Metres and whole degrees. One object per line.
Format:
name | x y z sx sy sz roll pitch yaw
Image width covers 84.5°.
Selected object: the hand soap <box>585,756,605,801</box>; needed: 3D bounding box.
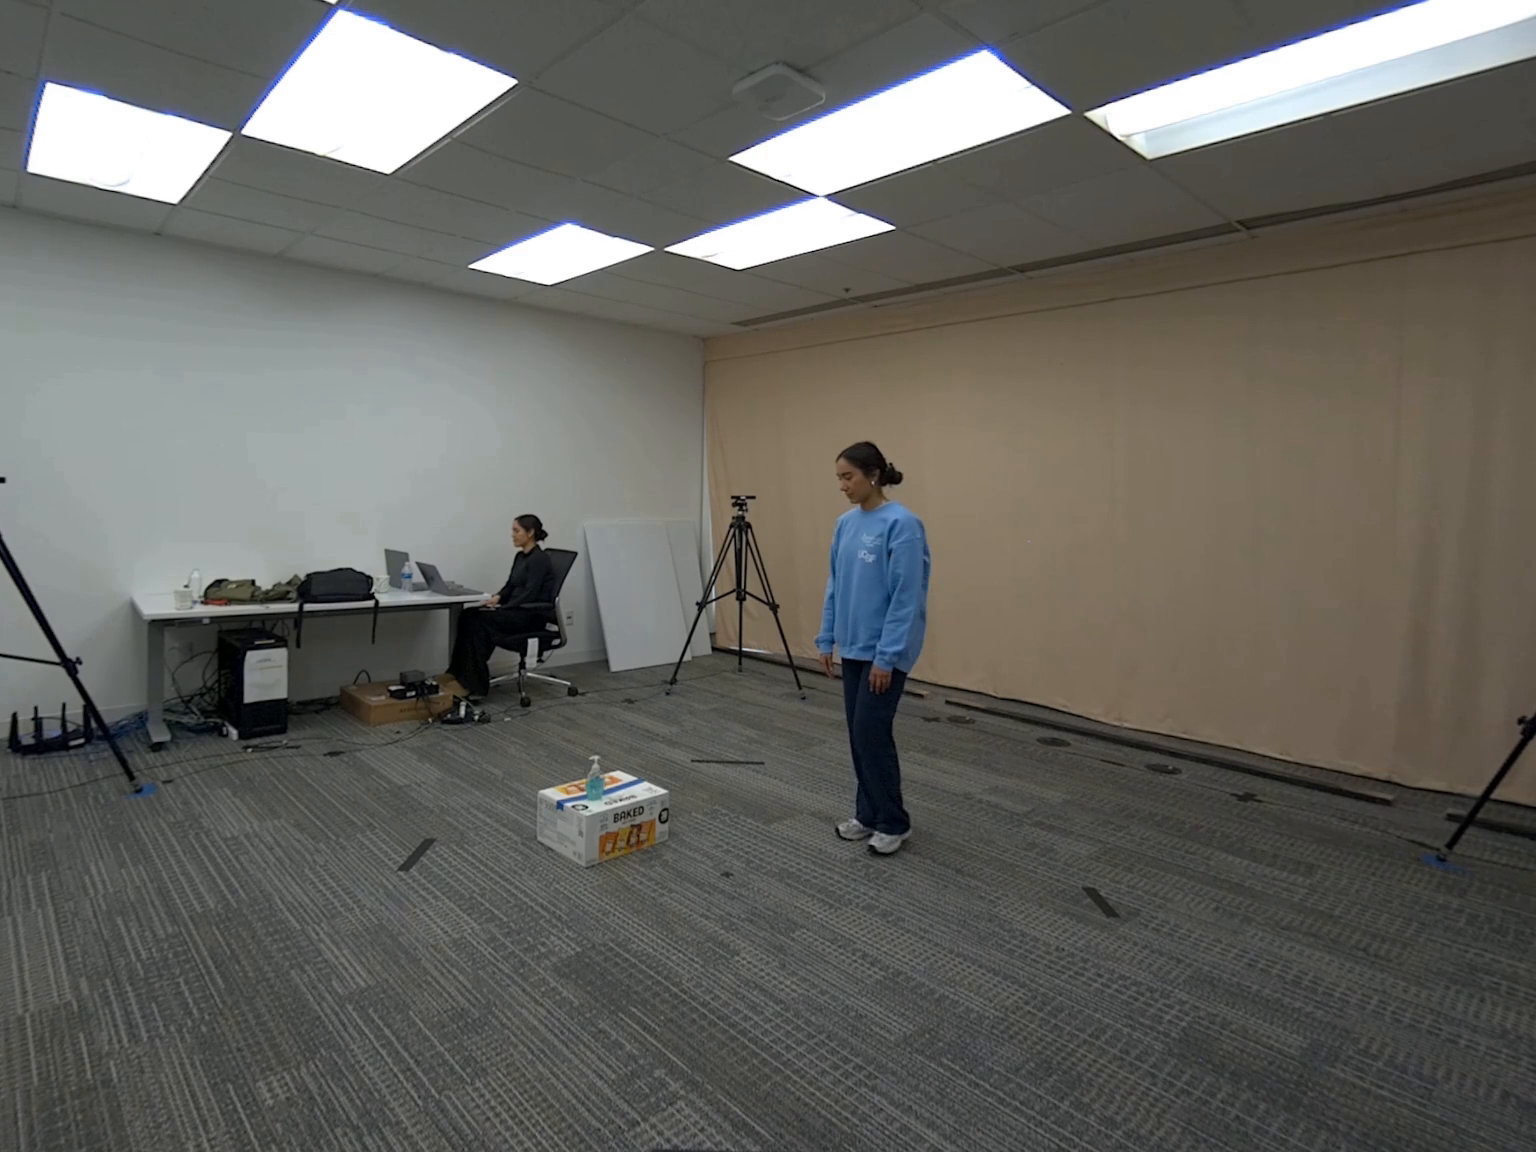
hand soap | -0.683 0.790 3.297 0.044 0.168 0.082 3 -1 43
